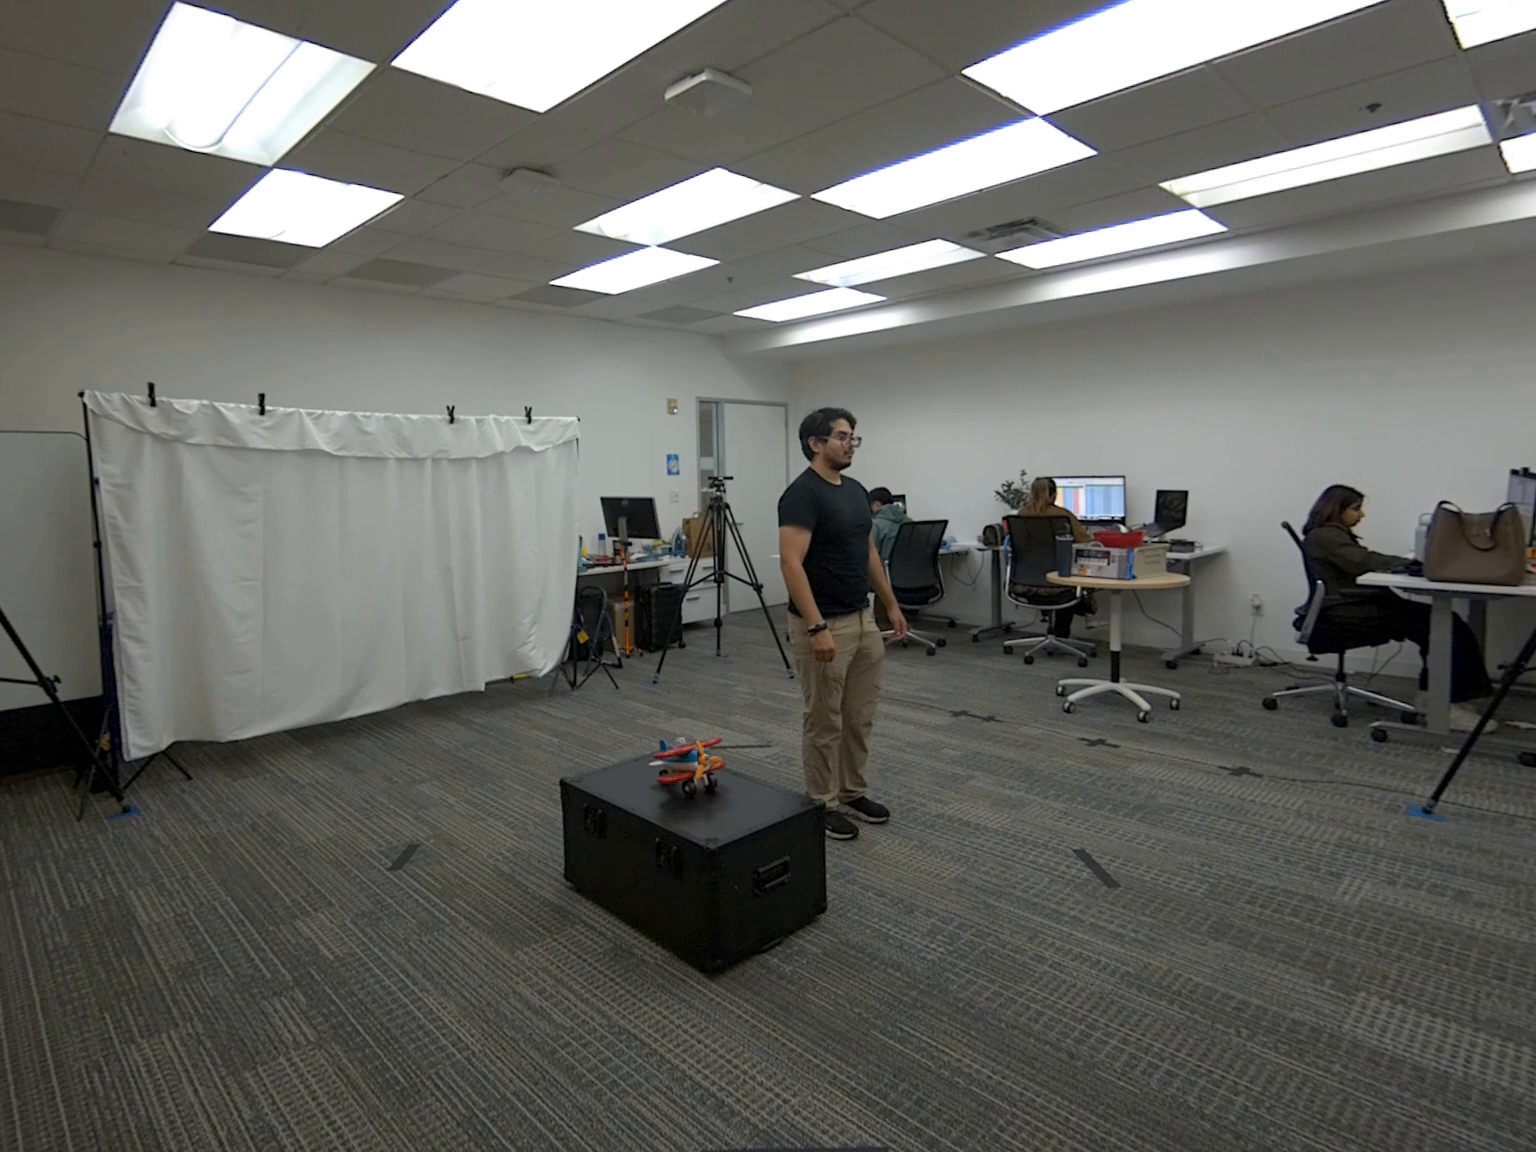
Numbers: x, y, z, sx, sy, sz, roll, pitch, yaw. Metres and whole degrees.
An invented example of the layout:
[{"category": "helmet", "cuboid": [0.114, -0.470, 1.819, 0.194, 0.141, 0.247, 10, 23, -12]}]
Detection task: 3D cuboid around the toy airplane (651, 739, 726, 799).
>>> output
[{"category": "toy airplane", "cuboid": [-0.284, 0.623, 2.829, 0.264, 0.155, 0.247, 2, 7, 21]}]
